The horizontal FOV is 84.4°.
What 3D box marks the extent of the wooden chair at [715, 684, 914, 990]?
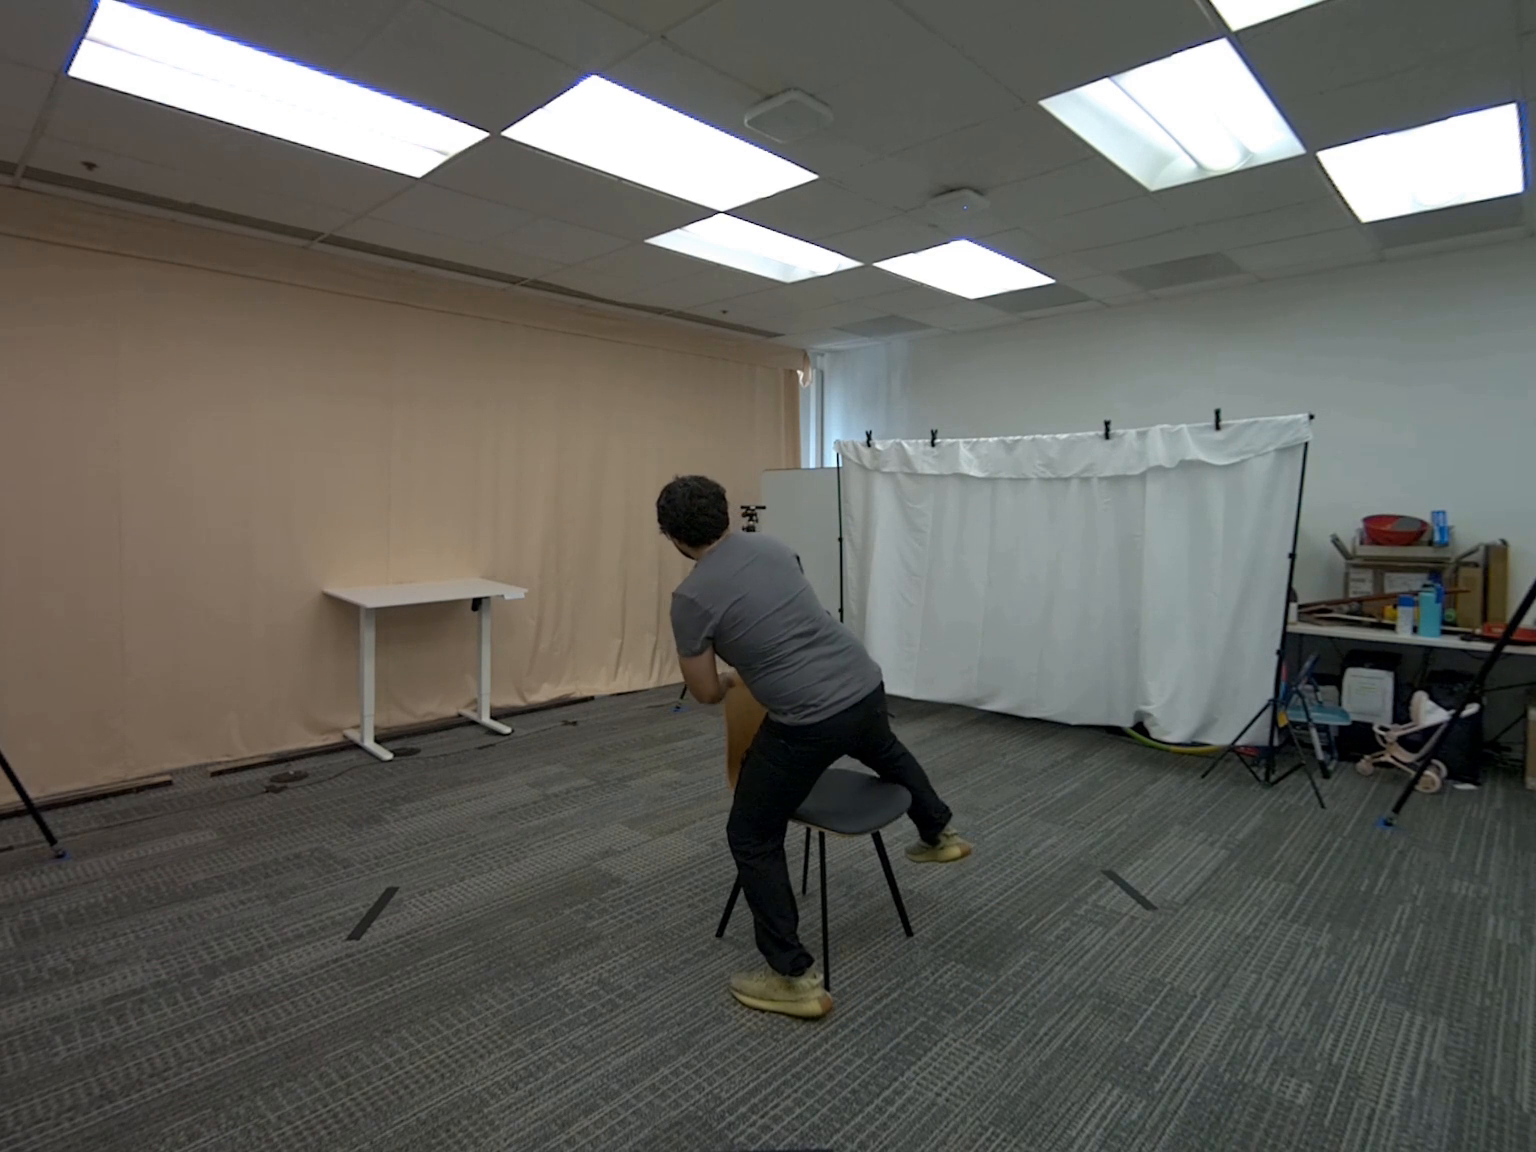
[{"bbox_3d":[0.158,0.740,2.688,0.539,0.877,0.463,-3,1,43],"label":"wooden chair"}]
